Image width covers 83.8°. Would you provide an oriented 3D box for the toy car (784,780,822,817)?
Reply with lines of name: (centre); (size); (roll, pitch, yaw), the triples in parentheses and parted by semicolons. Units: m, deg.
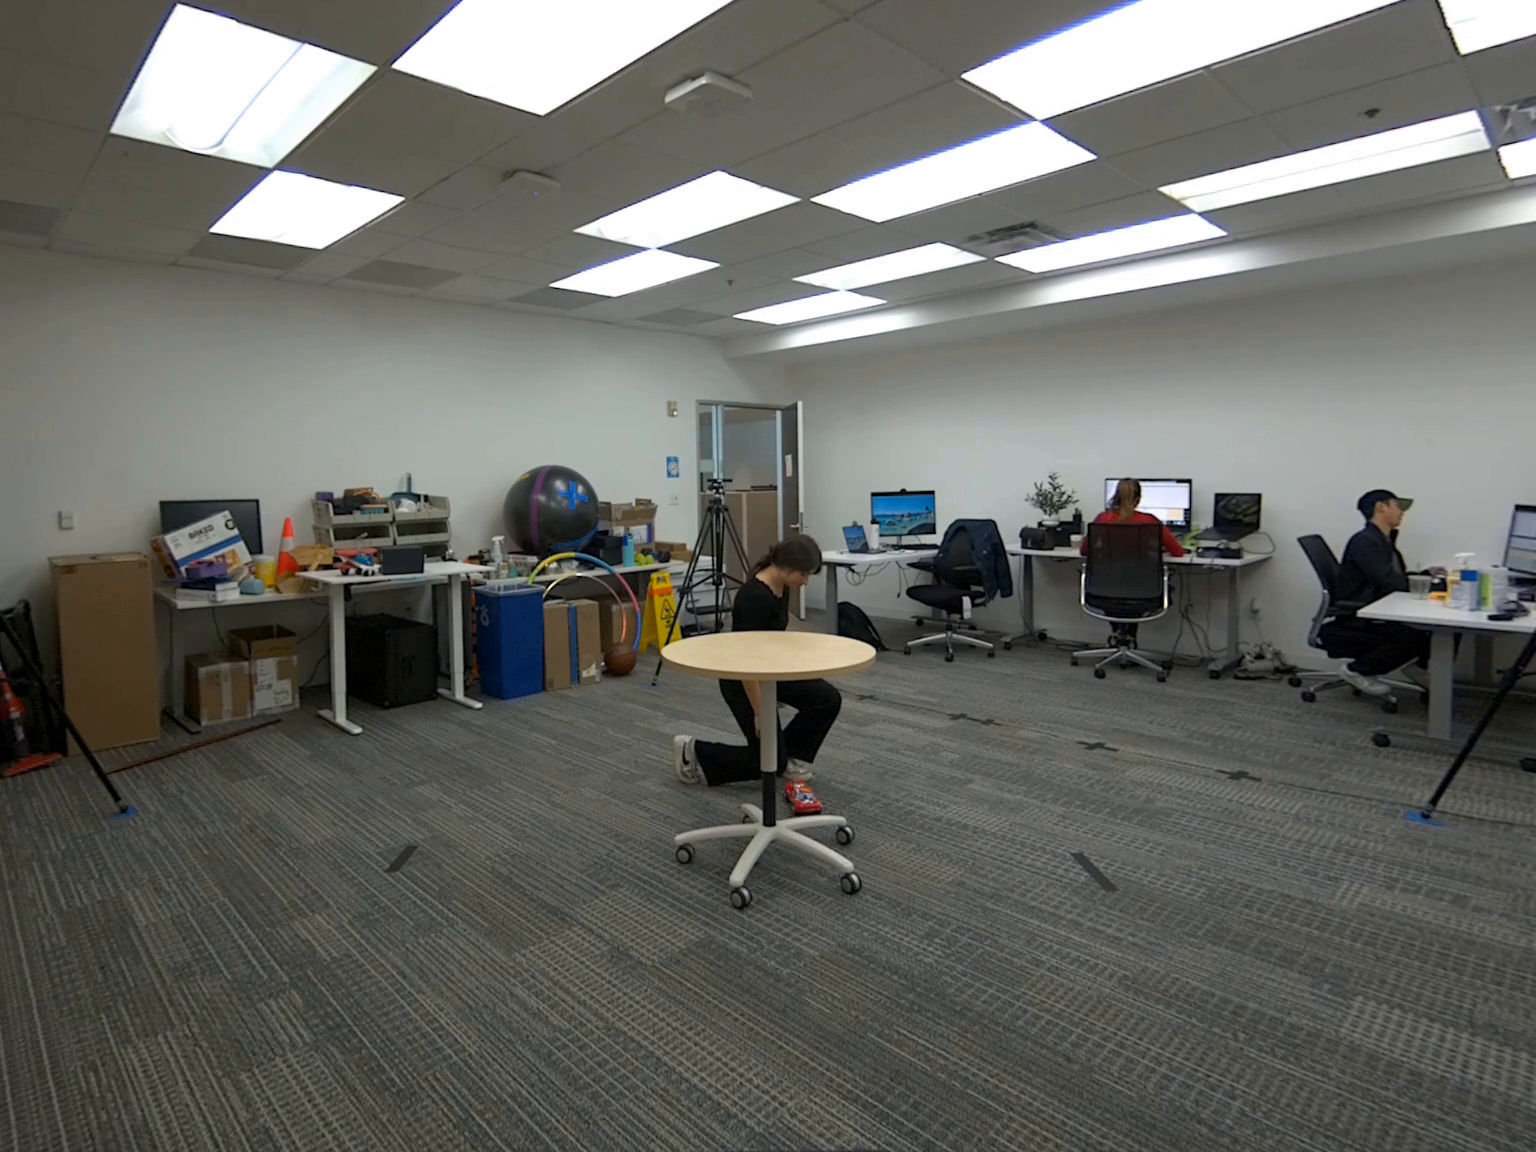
toy car: (0.147, 0.953, 3.655); (0.129, 0.082, 0.260); (-2, 17, -10)
